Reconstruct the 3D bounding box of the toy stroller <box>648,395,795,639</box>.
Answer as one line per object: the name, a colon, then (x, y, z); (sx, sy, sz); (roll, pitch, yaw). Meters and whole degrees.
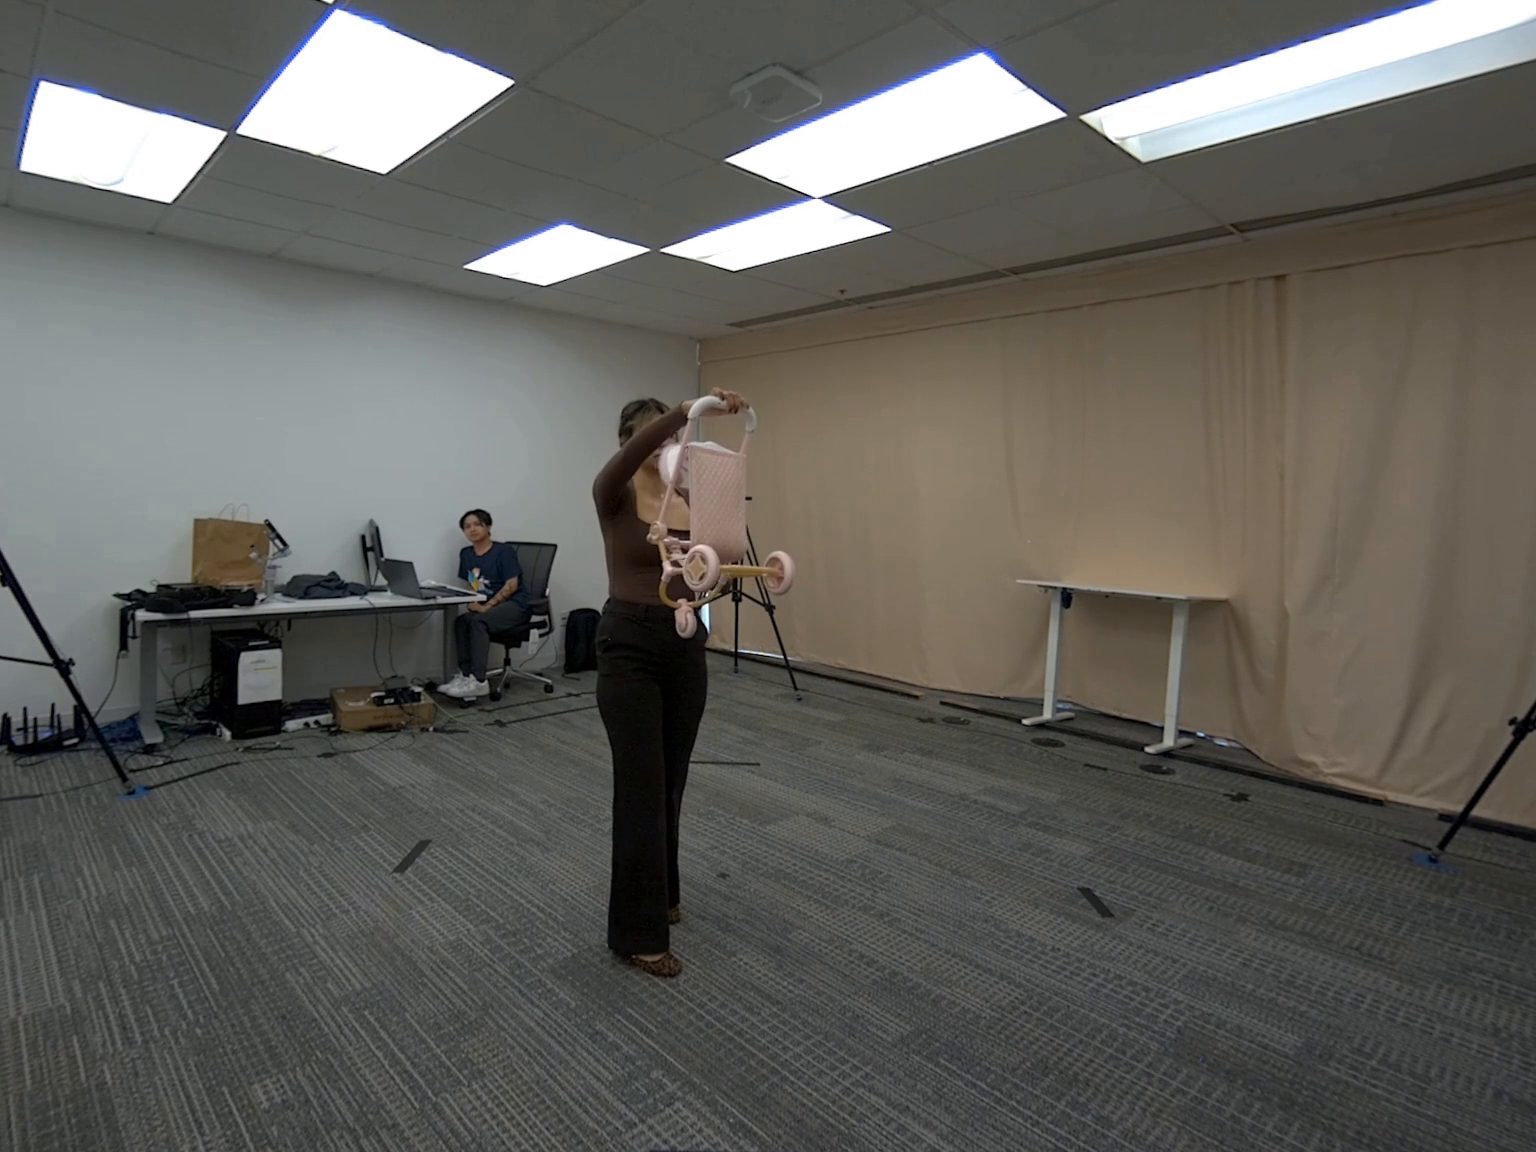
toy stroller: (-0.166, -0.130, 2.145); (0.275, 0.541, 0.345); (1, -16, -38)
